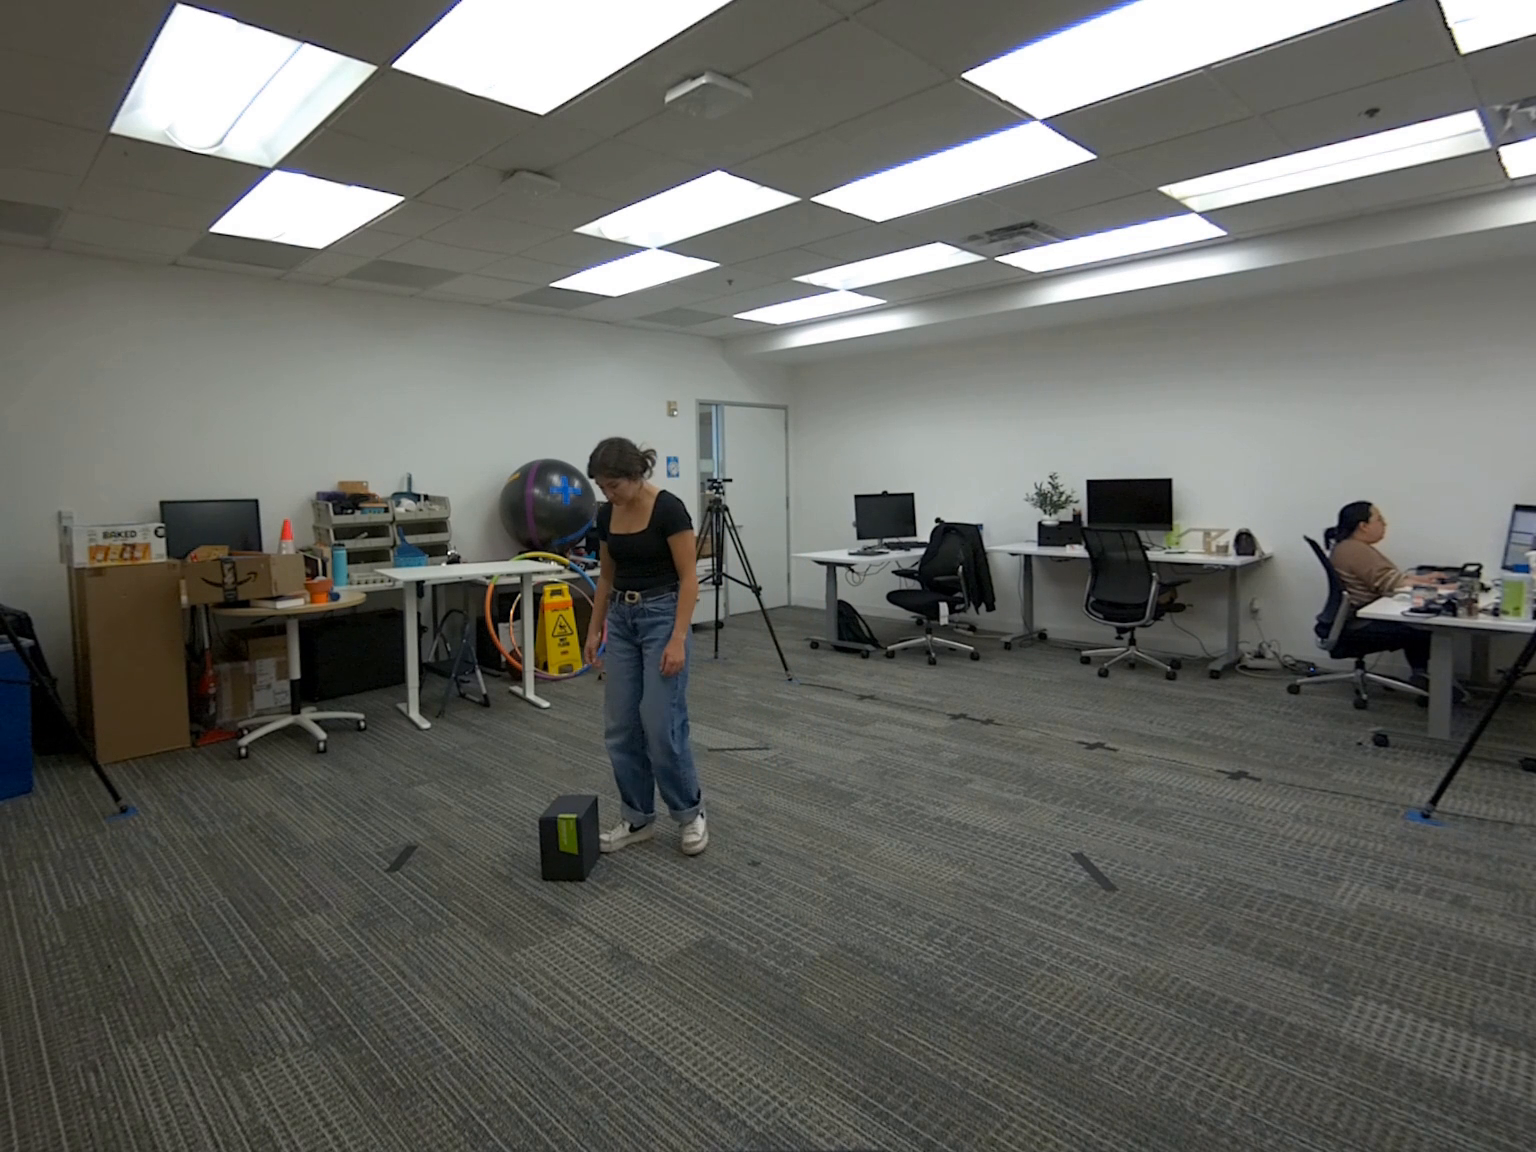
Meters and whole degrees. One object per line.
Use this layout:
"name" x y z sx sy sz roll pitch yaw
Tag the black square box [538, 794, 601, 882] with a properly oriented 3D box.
"black square box" -0.713 0.937 3.087 0.157 0.227 0.217 -1 6 6
